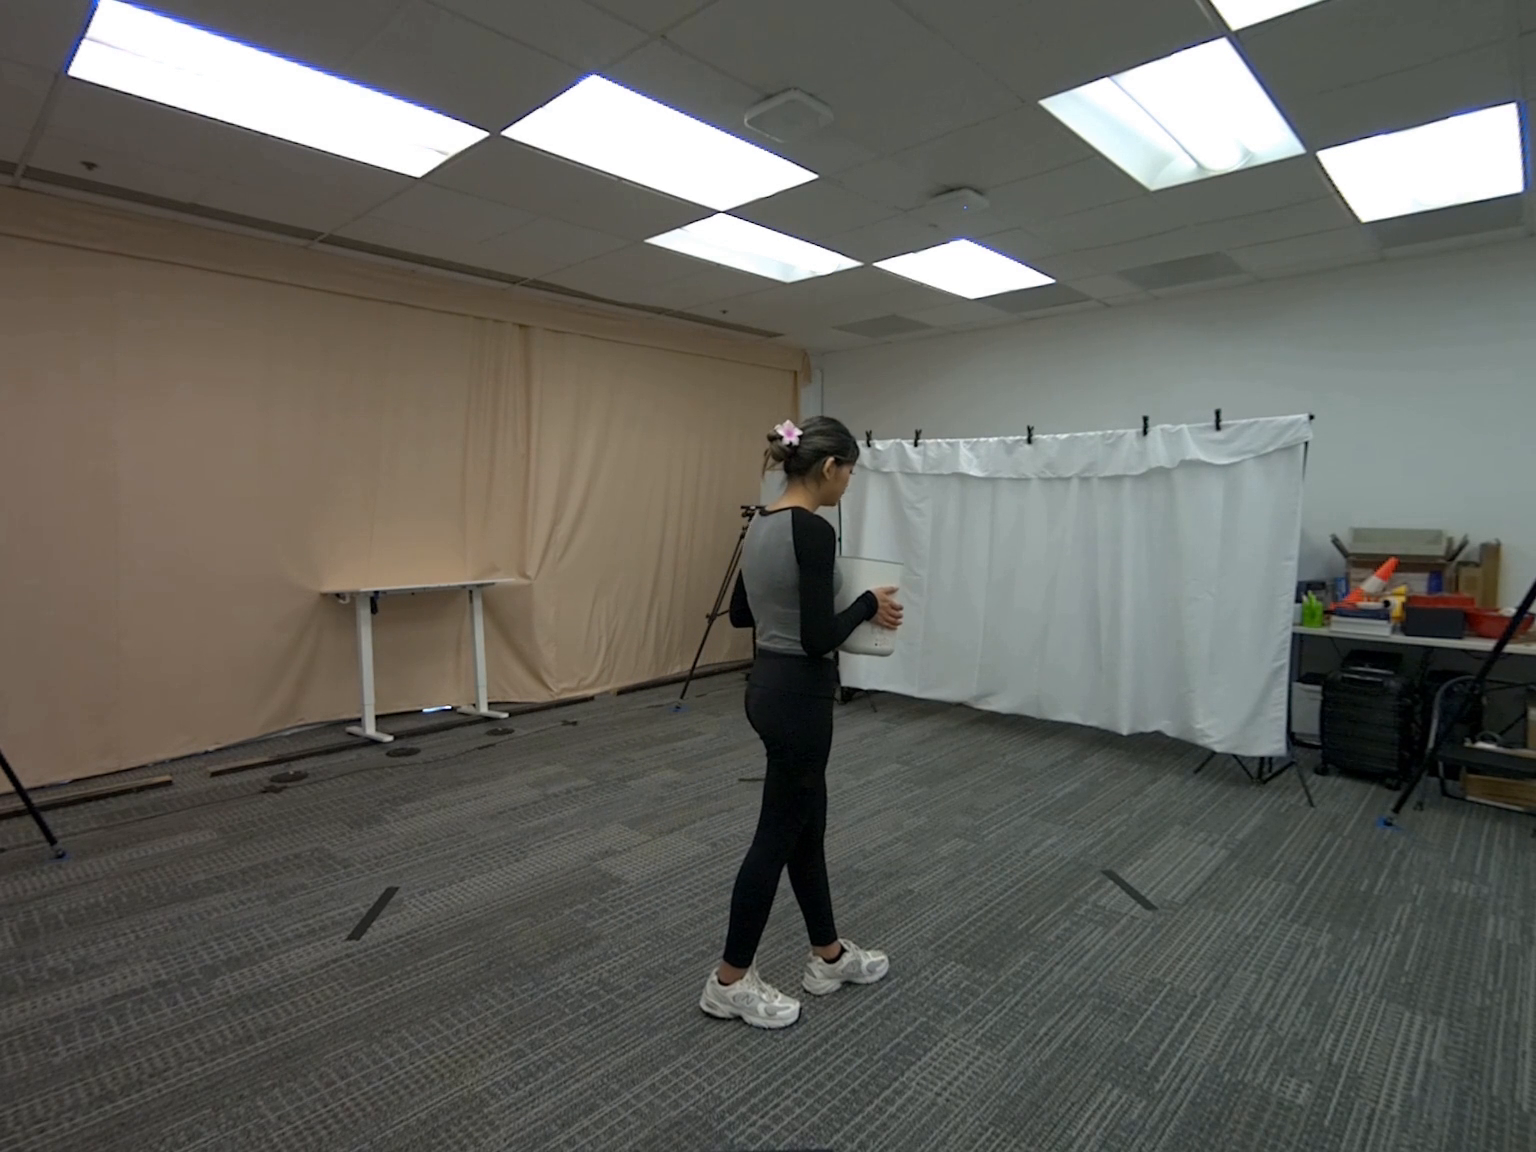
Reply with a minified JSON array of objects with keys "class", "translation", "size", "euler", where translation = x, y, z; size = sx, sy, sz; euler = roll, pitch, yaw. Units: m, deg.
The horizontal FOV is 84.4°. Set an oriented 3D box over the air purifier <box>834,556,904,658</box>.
[{"class":"air purifier","translation":[0.279,0.086,2.353],"size":[0.167,0.265,0.175],"euler":[6,-1,-20]}]
